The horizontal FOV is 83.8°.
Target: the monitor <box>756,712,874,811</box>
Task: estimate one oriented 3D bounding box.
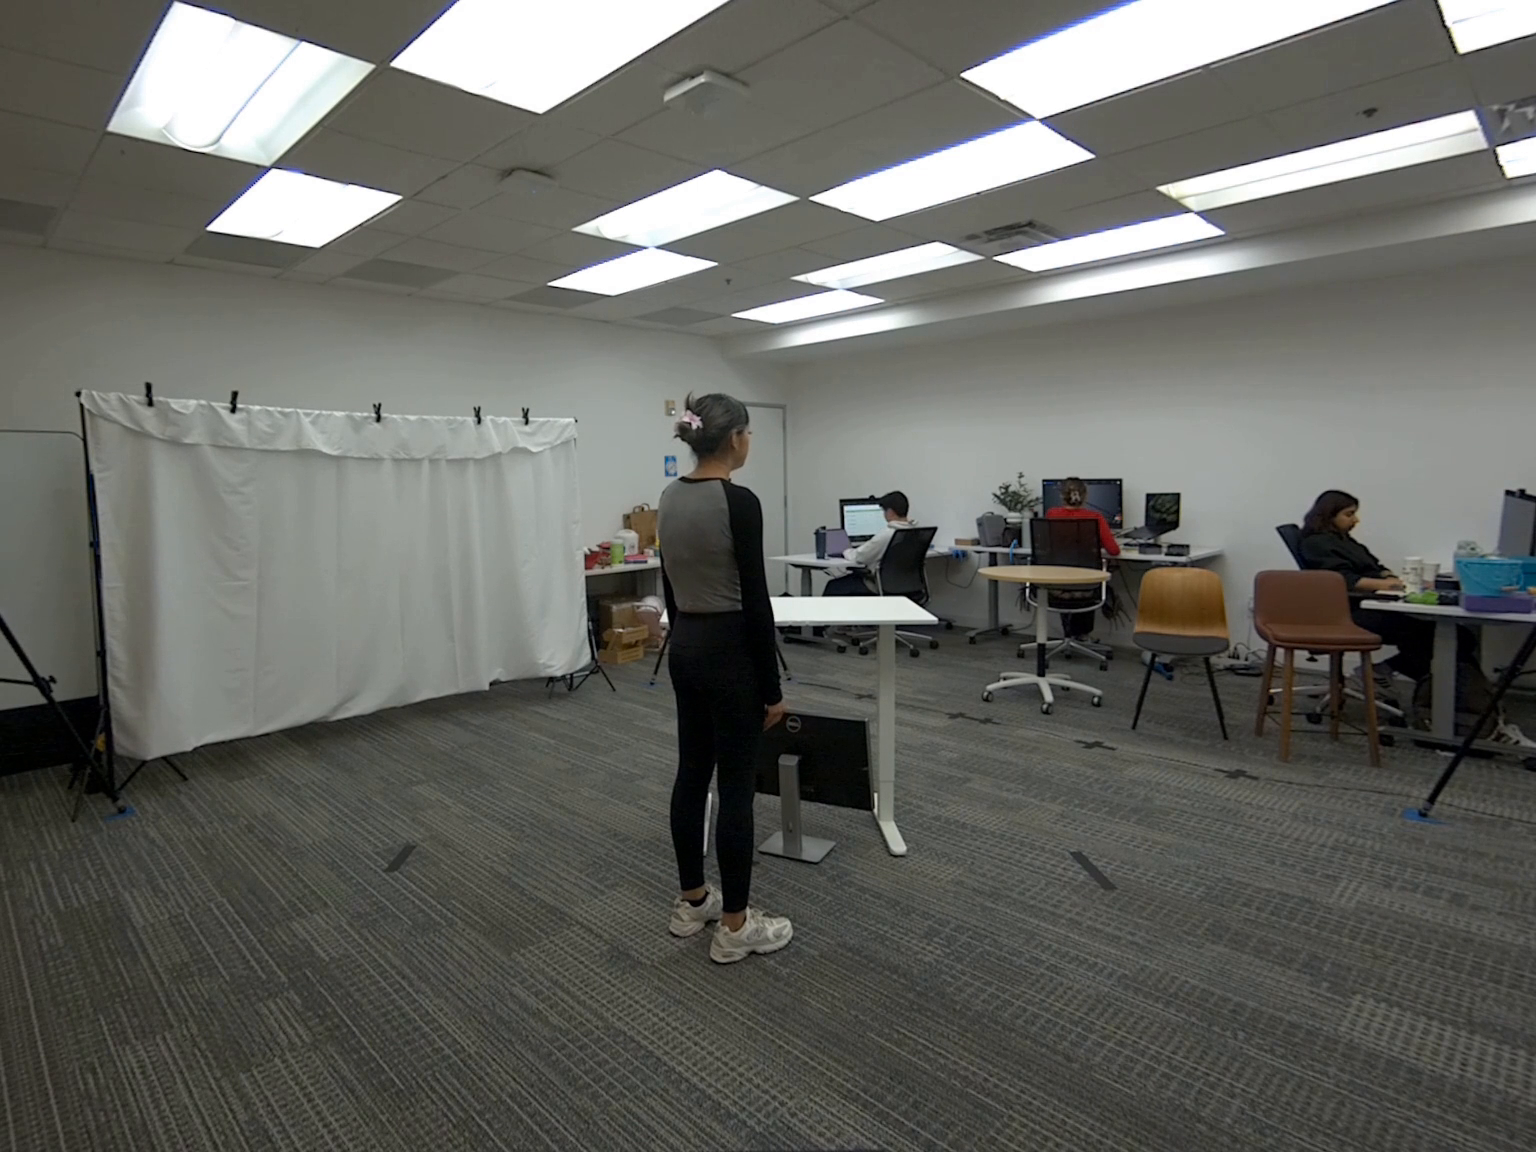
[{"bbox_3d":[0.110,0.770,3.206,0.552,0.522,0.183,1,2,27],"label":"monitor"}]
